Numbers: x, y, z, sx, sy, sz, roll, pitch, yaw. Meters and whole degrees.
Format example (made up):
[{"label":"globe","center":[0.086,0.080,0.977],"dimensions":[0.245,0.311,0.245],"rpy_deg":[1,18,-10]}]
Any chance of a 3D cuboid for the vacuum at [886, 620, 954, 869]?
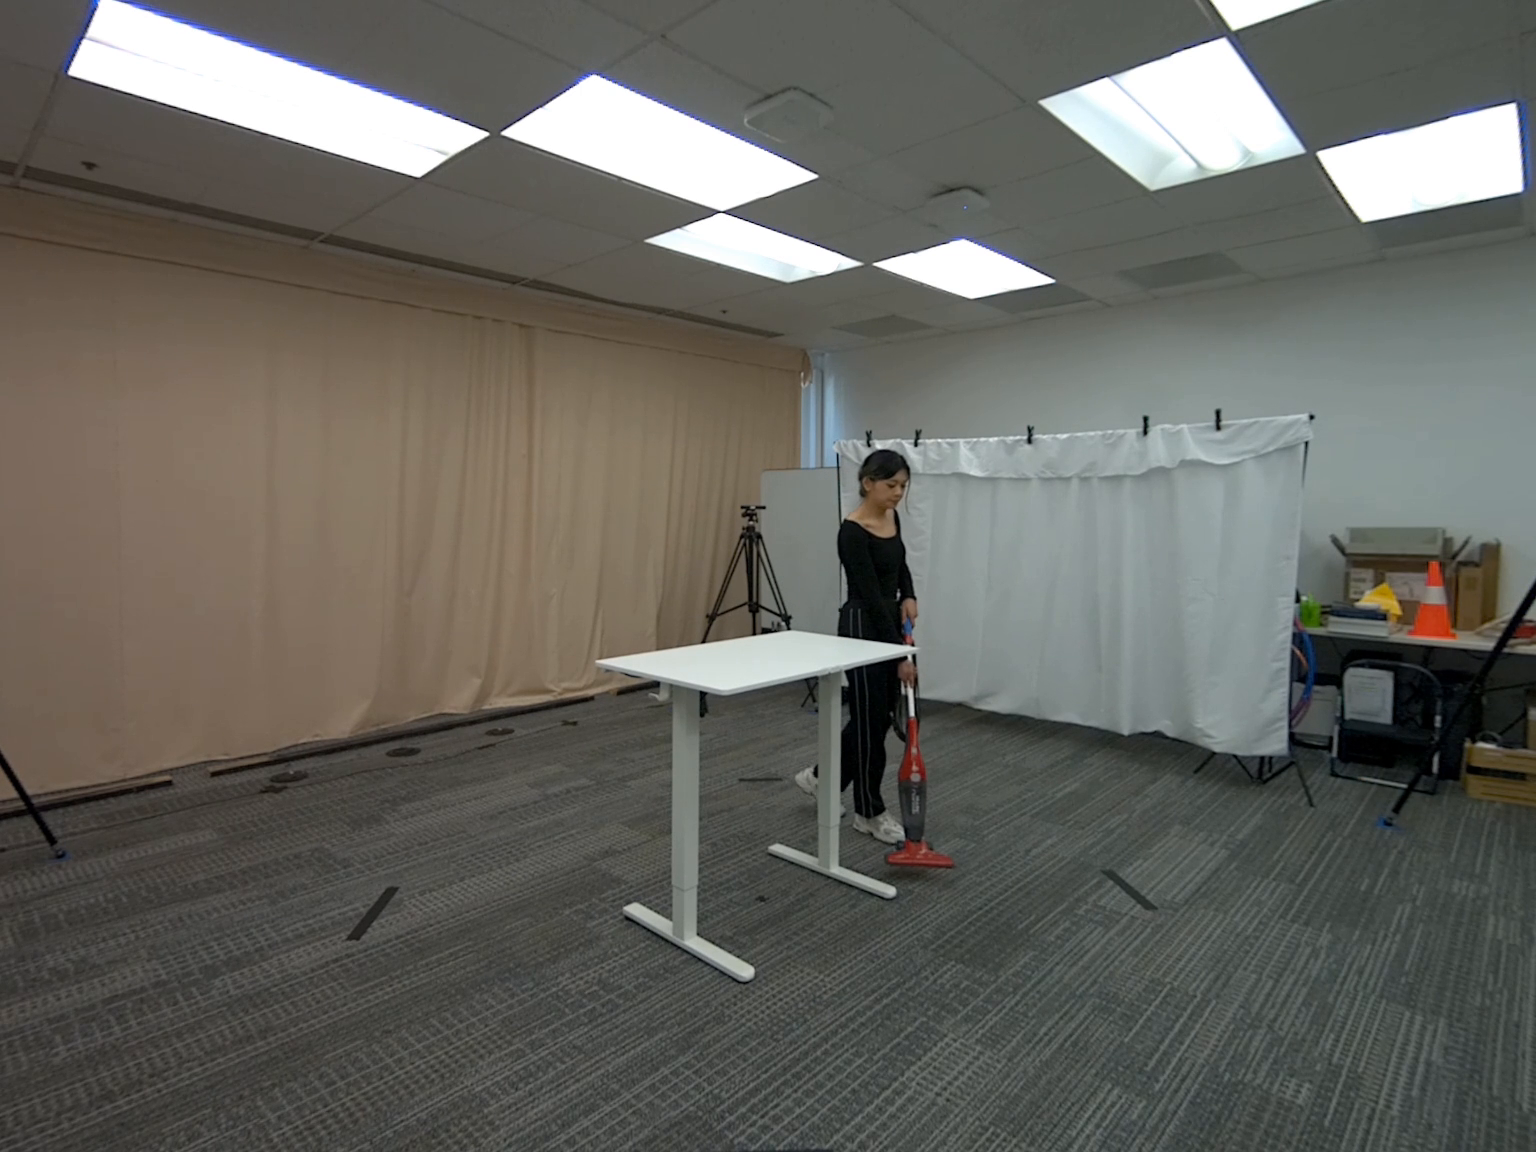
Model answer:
[{"label":"vacuum","center":[0.574,0.583,3.374],"dimensions":[0.253,1.064,0.142],"rpy_deg":[1,-25,0]}]
